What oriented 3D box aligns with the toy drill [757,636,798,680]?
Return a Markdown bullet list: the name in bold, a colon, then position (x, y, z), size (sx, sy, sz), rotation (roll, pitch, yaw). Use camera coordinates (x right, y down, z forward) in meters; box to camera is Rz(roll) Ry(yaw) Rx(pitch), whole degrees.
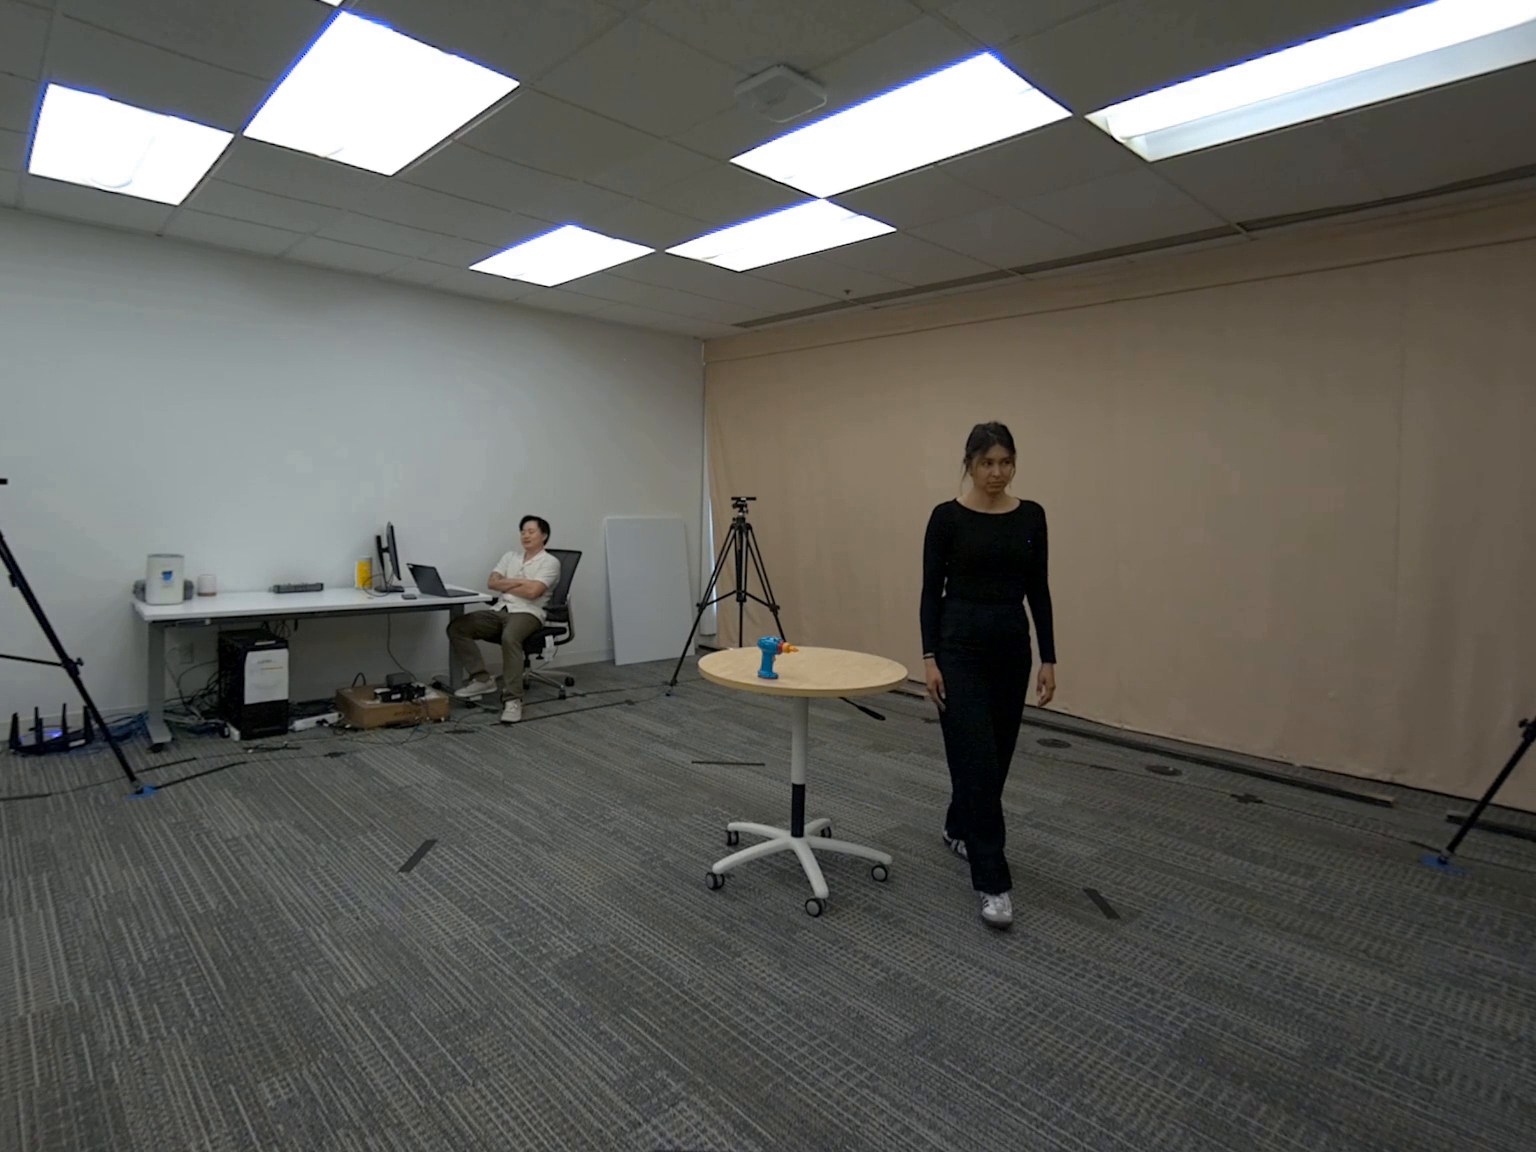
- **toy drill**: position (0.028, 0.281, 2.845), size (0.174, 0.145, 0.060), rotation (6, 6, 38)
